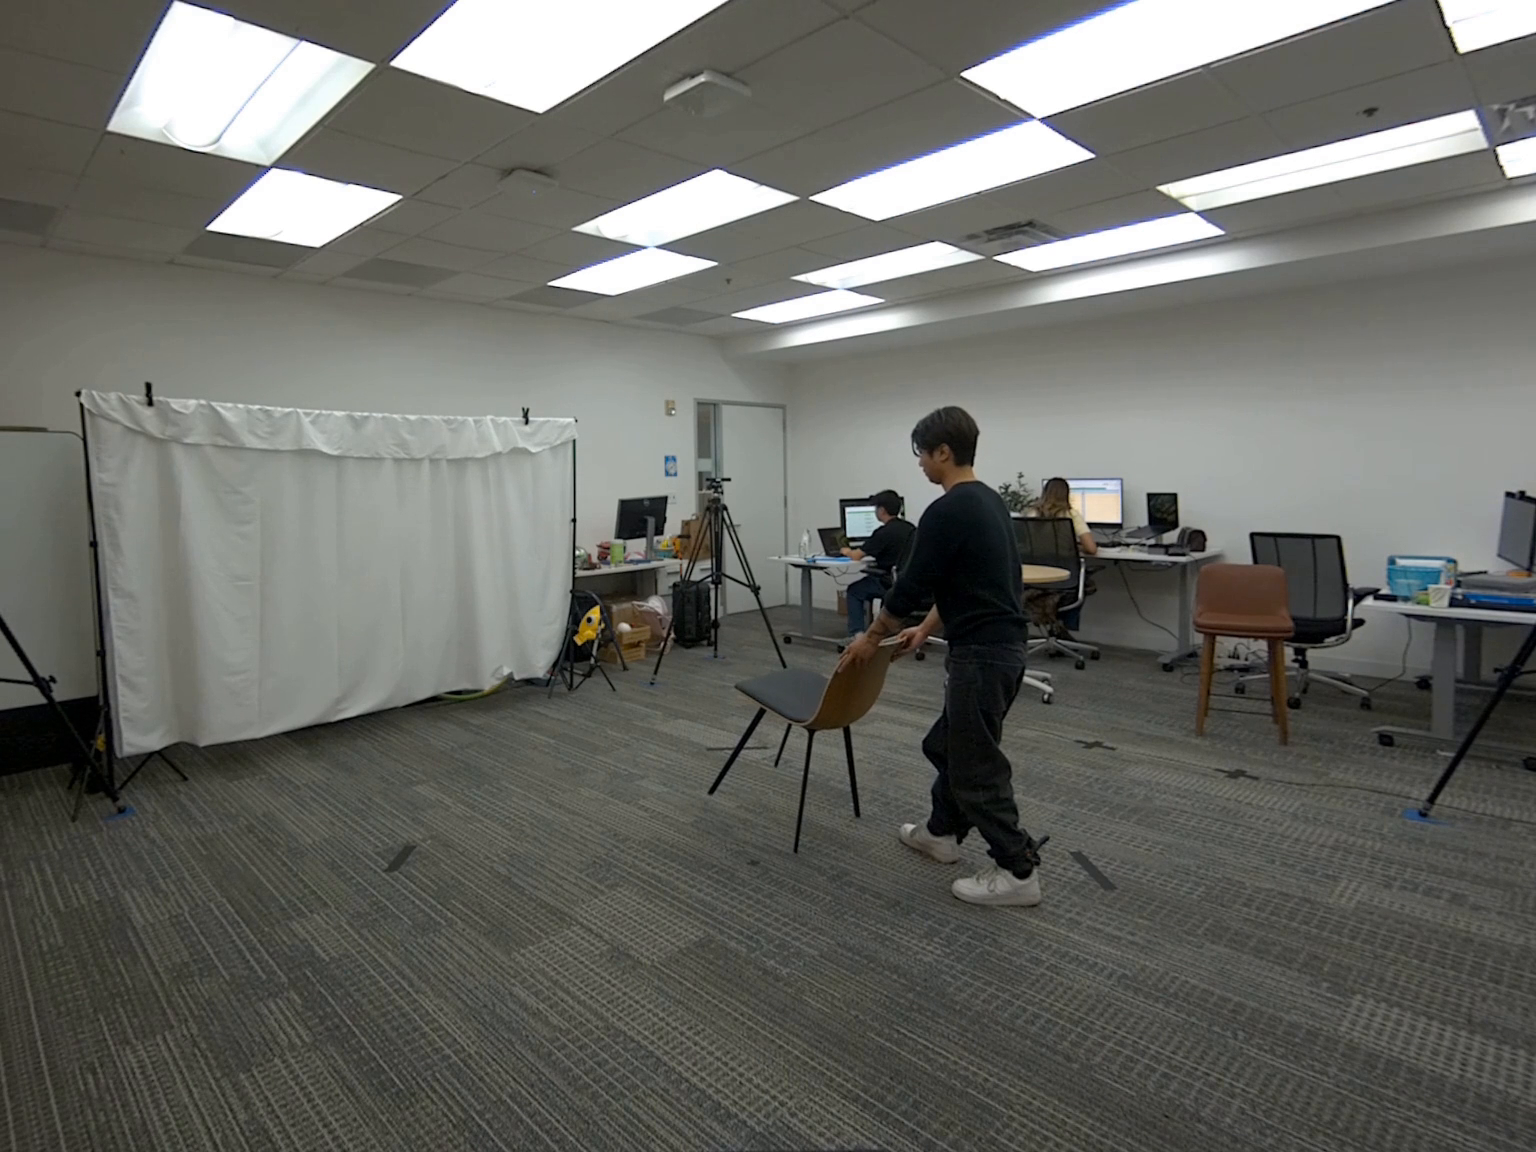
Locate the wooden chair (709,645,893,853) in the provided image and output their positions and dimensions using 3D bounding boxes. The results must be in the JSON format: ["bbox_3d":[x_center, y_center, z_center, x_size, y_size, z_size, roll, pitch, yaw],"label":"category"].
[{"bbox_3d":[0.154,0.534,3.378,0.542,0.868,0.466,28,21,35],"label":"wooden chair"}]
